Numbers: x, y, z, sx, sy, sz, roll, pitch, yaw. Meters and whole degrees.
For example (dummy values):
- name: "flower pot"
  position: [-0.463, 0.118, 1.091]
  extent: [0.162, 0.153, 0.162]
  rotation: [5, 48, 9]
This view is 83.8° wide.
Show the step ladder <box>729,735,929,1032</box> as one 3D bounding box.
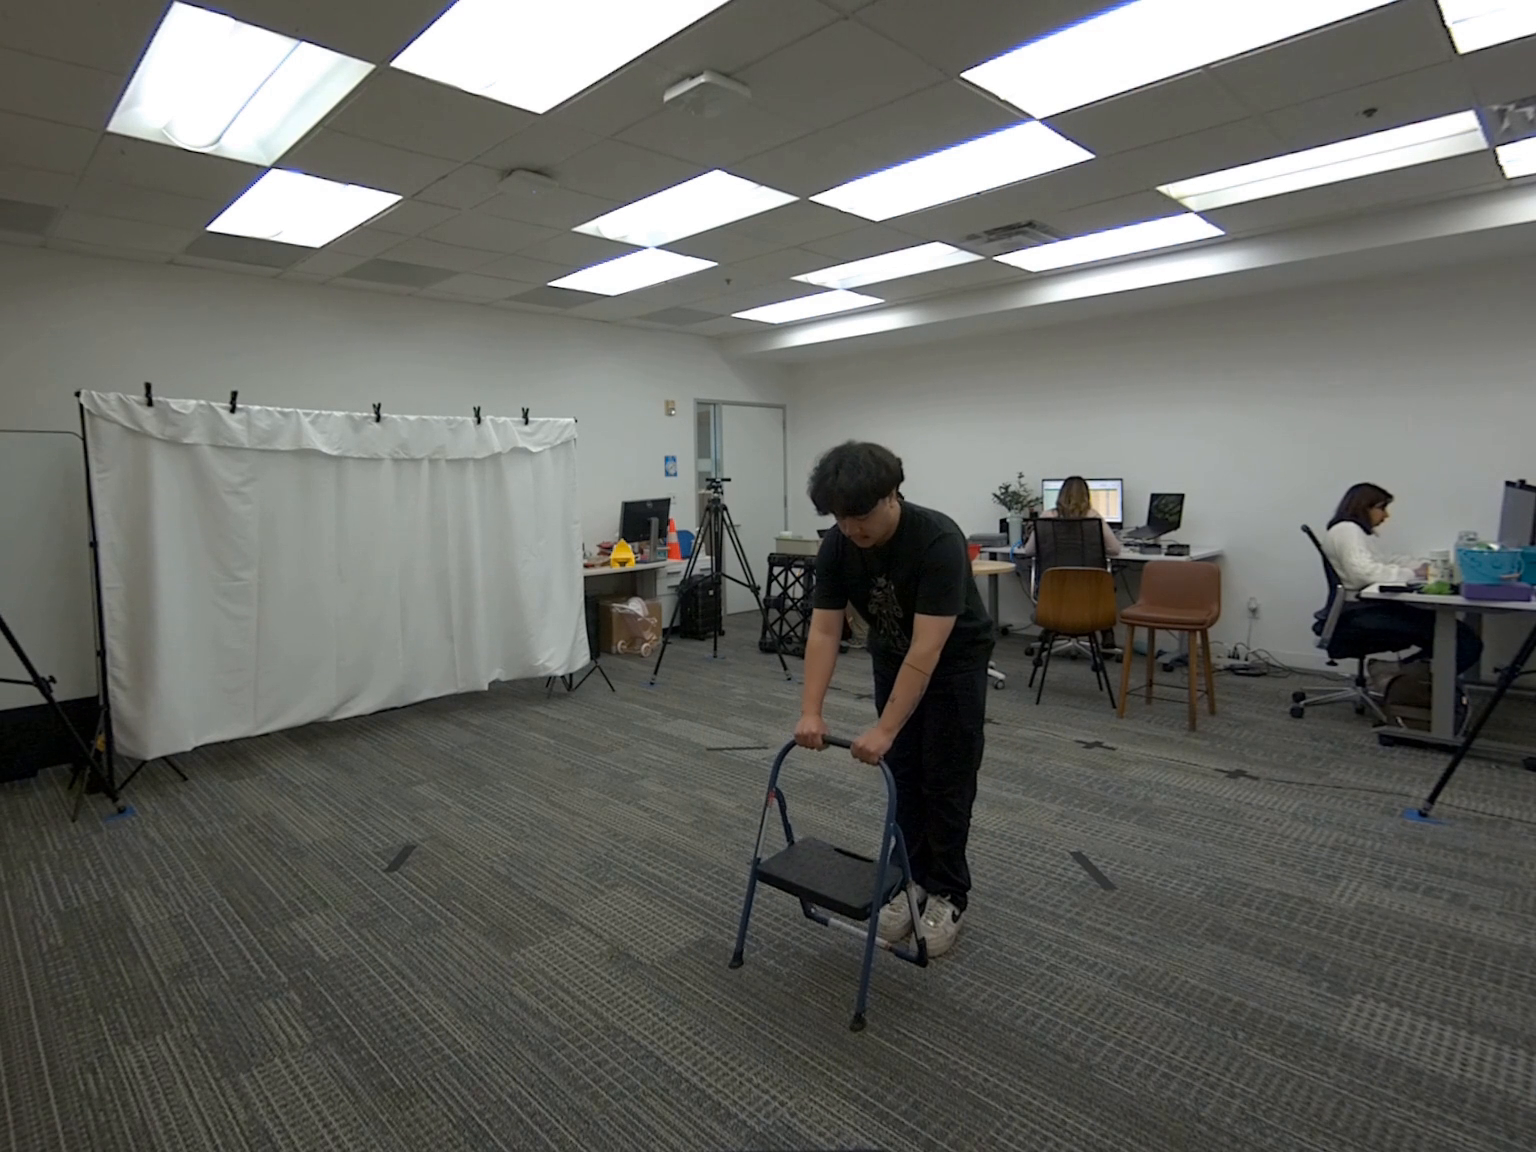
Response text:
- name: "step ladder"
  position: [0.160, 0.751, 2.271]
  extent: [0.444, 0.602, 0.341]
  rotation: [3, 9, 41]
